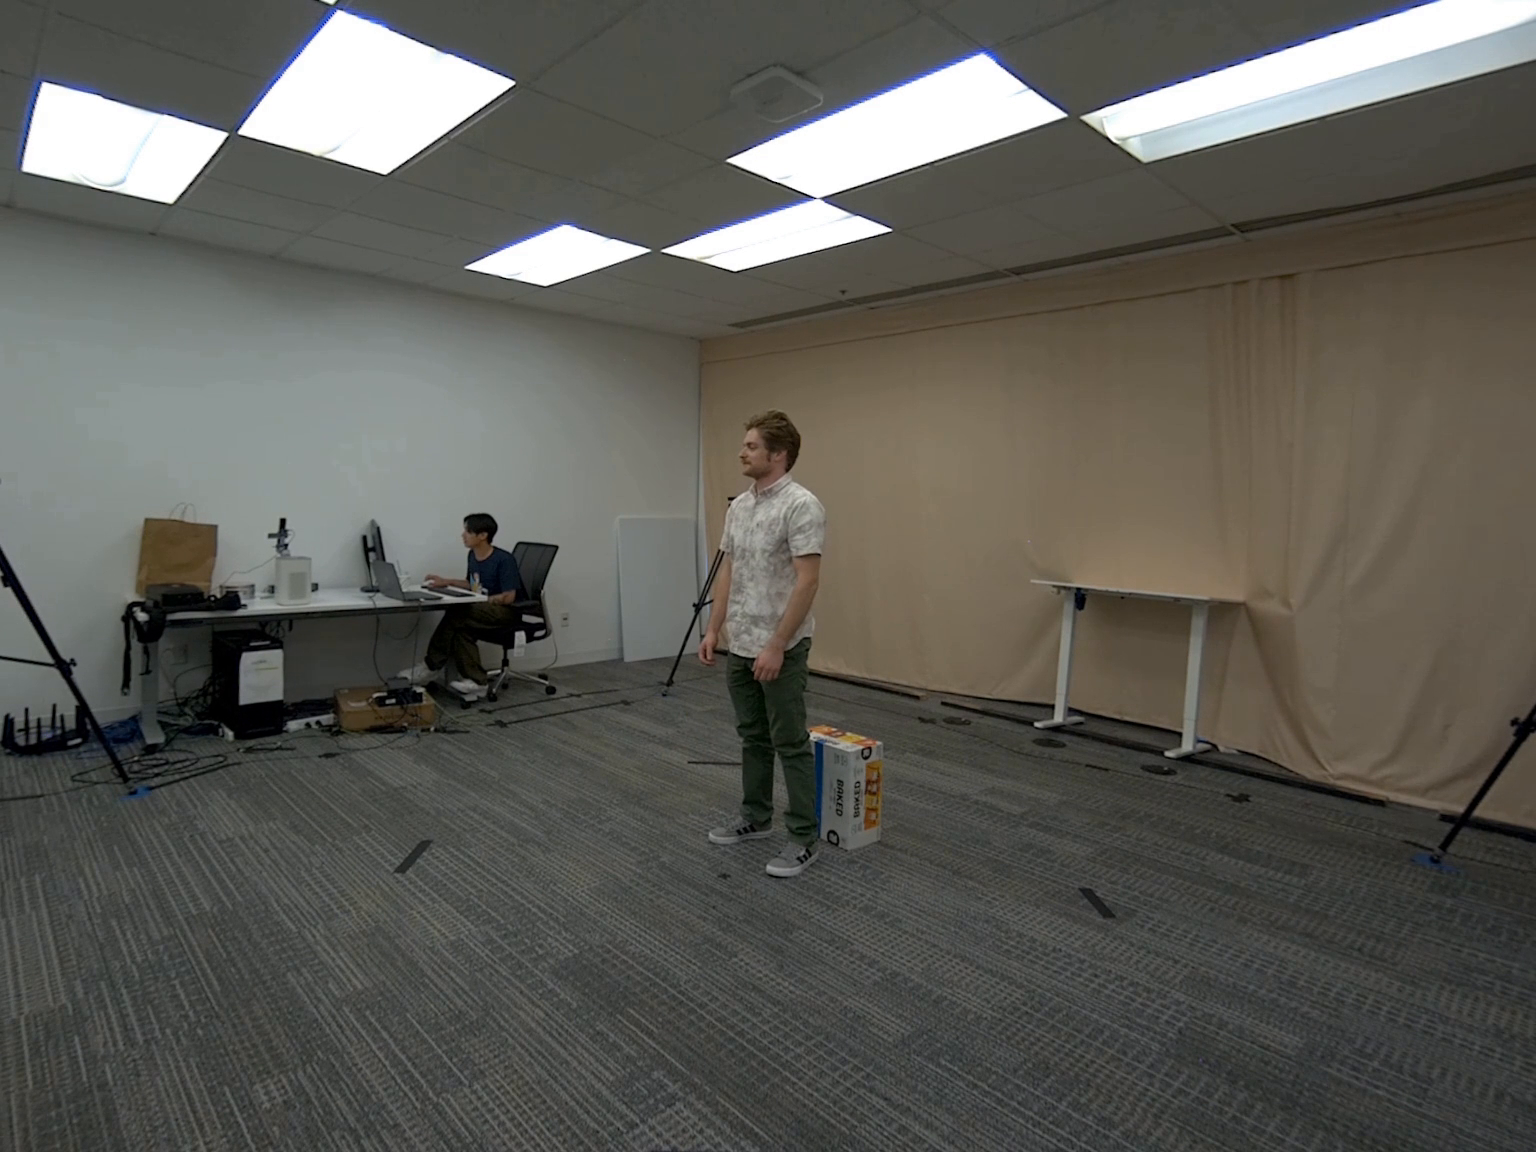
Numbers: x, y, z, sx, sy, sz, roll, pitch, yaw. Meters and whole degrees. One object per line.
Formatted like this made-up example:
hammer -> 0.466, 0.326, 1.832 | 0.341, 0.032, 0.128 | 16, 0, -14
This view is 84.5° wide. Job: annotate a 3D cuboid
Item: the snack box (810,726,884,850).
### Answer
snack box -> 0.279, 0.879, 3.539 | 0.201, 0.404, 0.349 | -2, 5, -41
